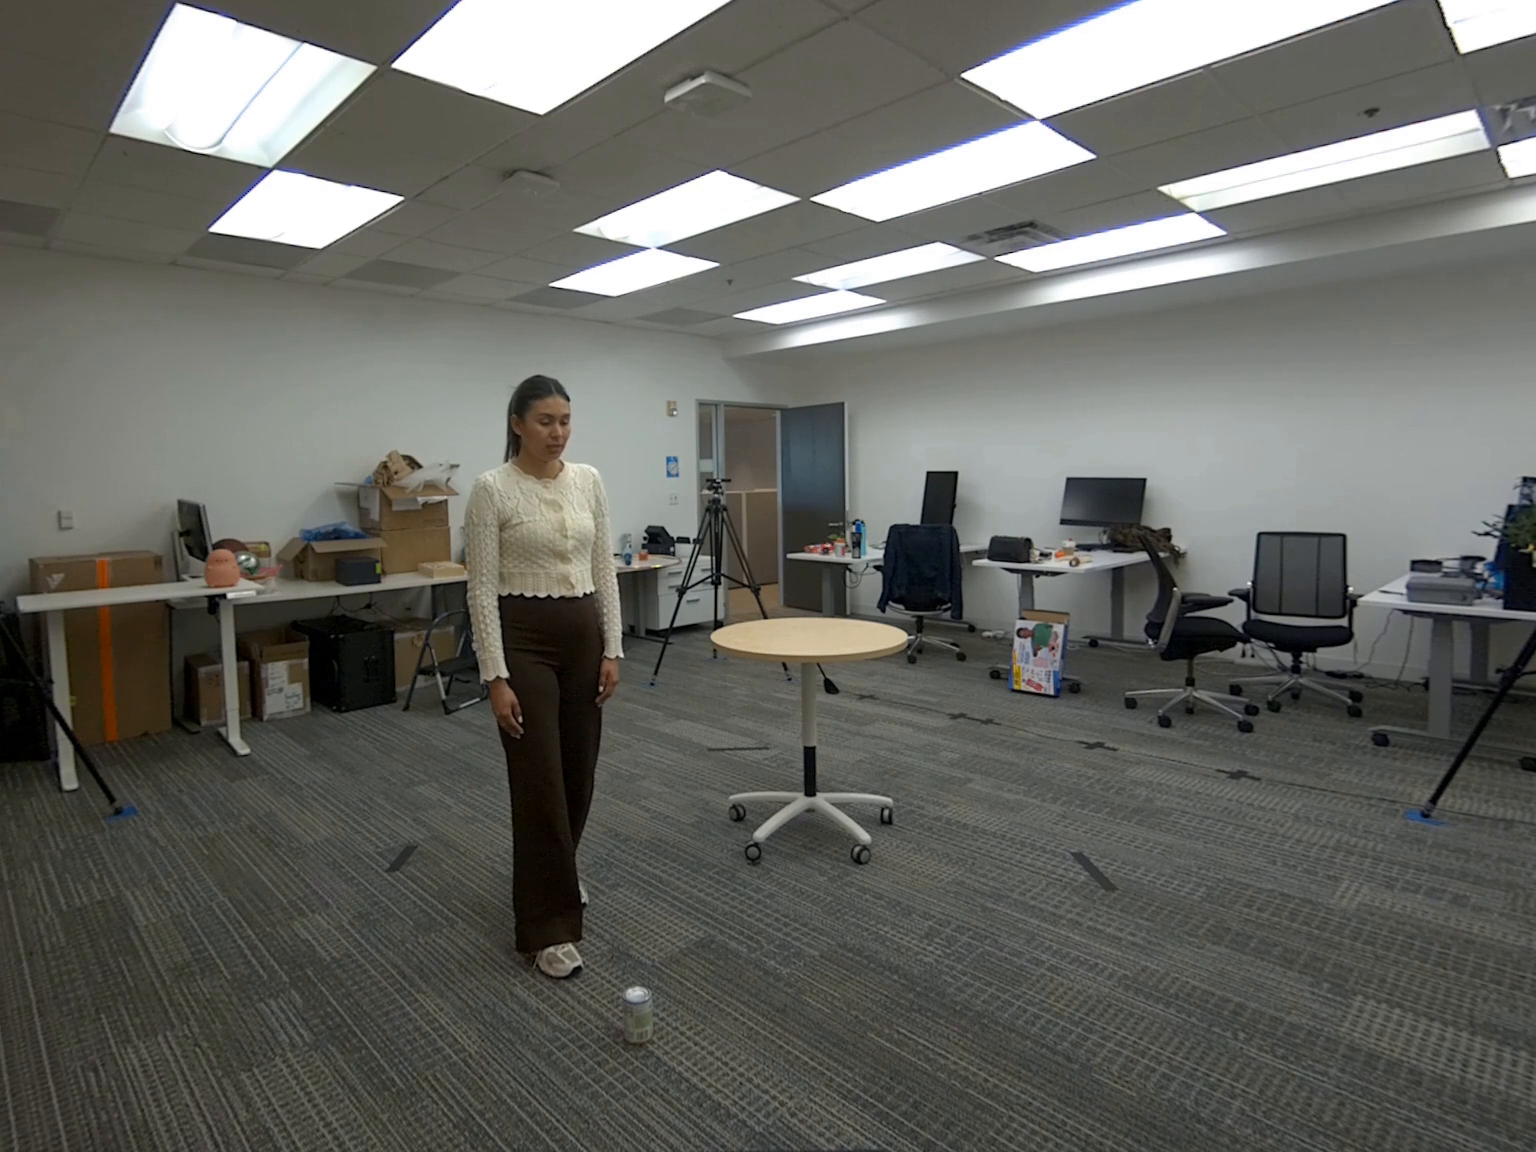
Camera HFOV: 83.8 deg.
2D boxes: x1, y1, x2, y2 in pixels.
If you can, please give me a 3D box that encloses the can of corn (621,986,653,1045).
[{"bbox_3d":[-0.320,1.110,2.146,0.074,0.110,0.075,0,7,-2],"label":"can of corn"}]
